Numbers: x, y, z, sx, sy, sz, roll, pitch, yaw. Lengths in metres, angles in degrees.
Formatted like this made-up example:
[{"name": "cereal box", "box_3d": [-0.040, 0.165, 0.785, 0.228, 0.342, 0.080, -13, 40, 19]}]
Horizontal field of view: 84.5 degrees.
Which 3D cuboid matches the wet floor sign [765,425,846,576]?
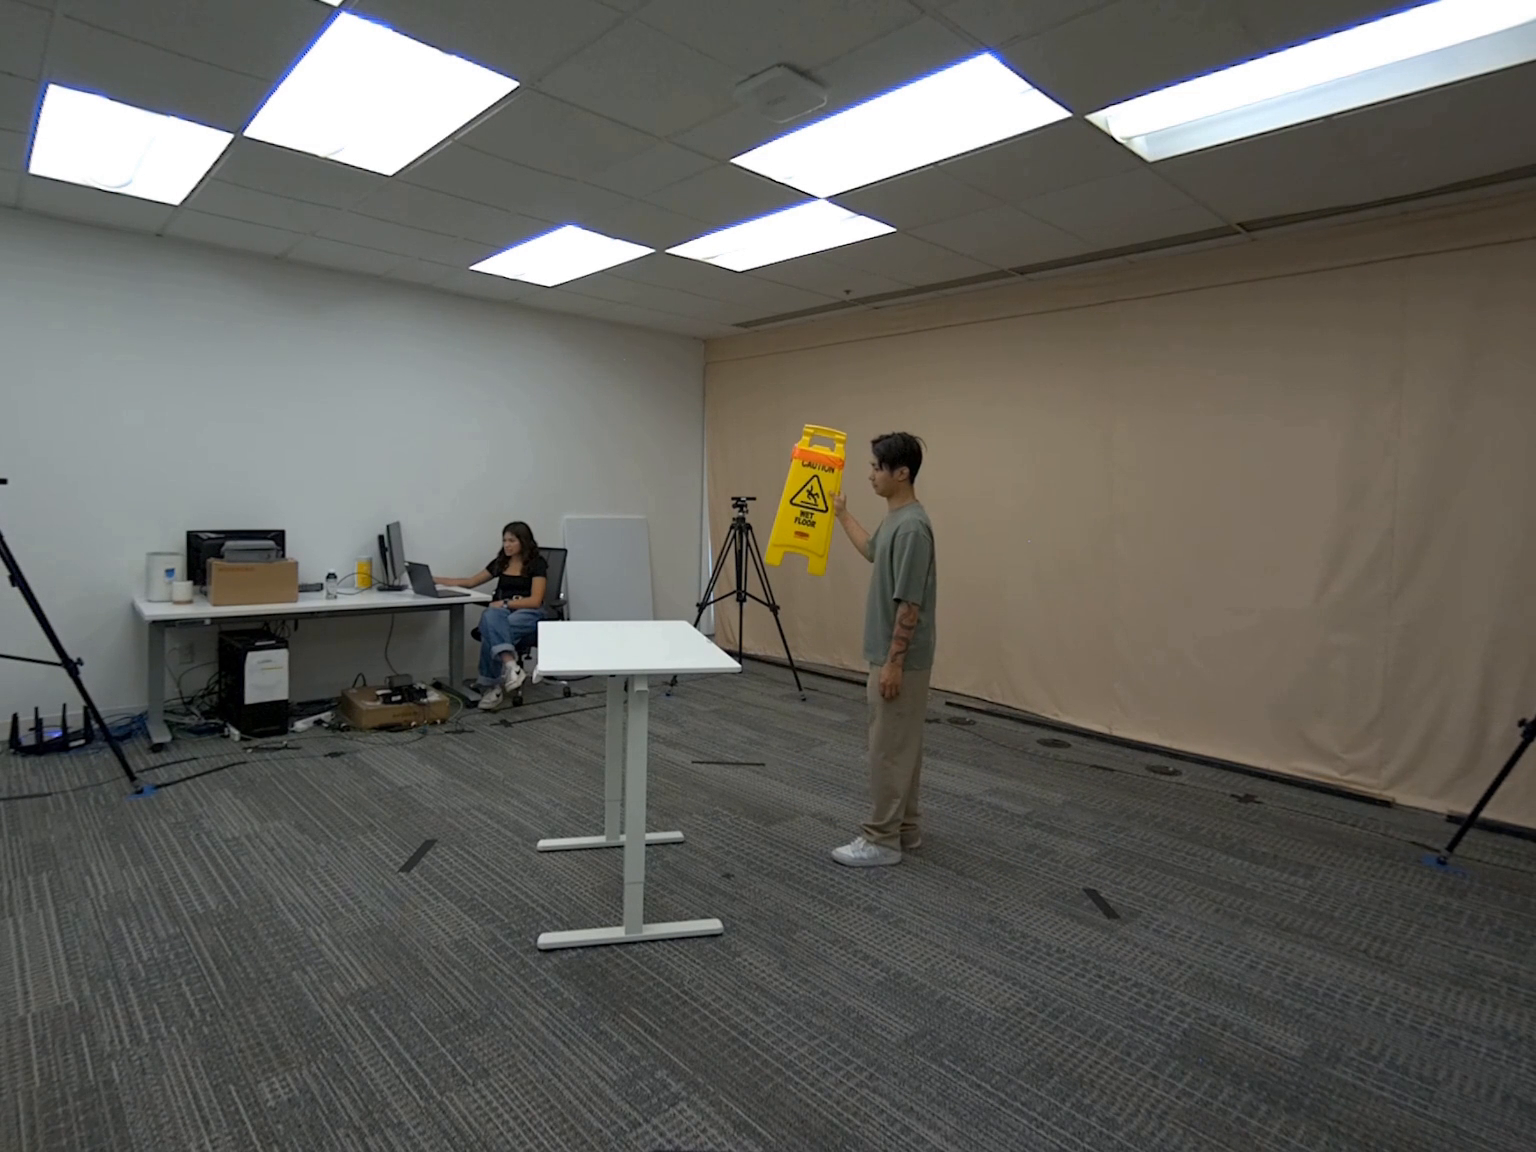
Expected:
[{"name": "wet floor sign", "box_3d": [0.186, -0.363, 3.873, 0.283, 0.643, 0.290, 14, 8, 1]}]
